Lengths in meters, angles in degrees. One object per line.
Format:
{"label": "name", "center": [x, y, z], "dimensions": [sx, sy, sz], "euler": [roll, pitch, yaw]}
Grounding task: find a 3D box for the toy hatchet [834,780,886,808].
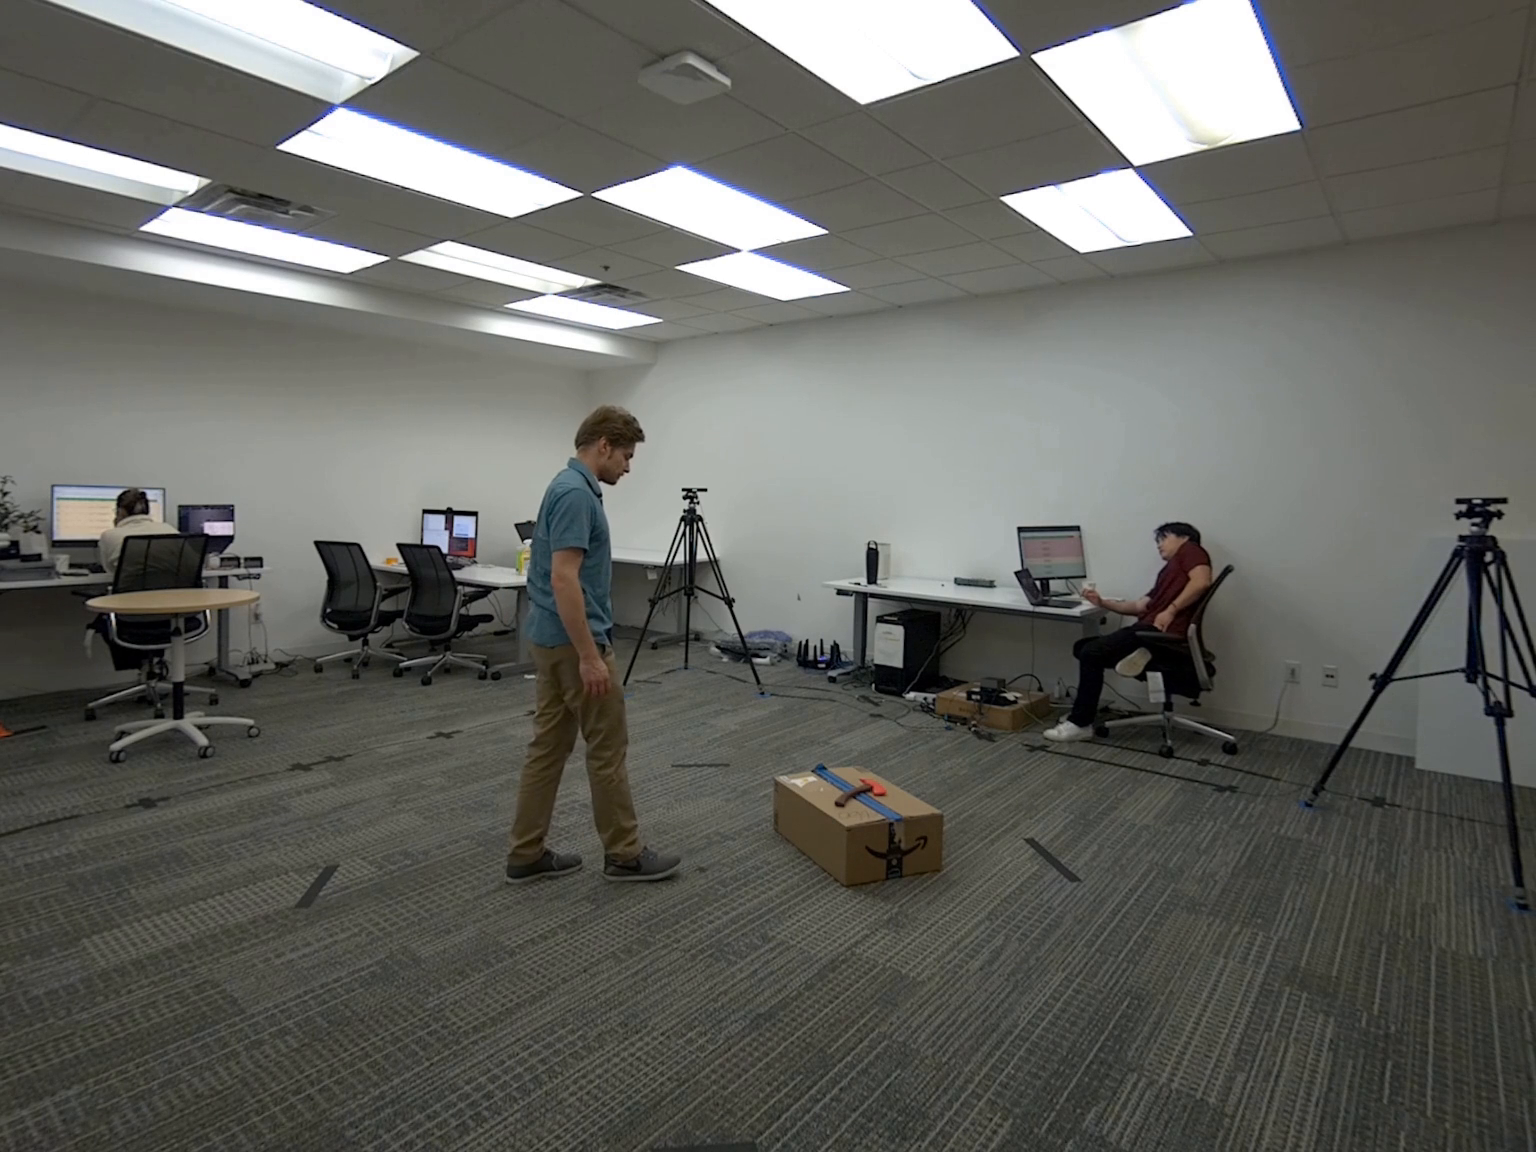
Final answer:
{"label": "toy hatchet", "center": [0.354, 0.837, 3.260], "dimensions": [0.135, 0.029, 0.264], "euler": [11, 13, 28]}
